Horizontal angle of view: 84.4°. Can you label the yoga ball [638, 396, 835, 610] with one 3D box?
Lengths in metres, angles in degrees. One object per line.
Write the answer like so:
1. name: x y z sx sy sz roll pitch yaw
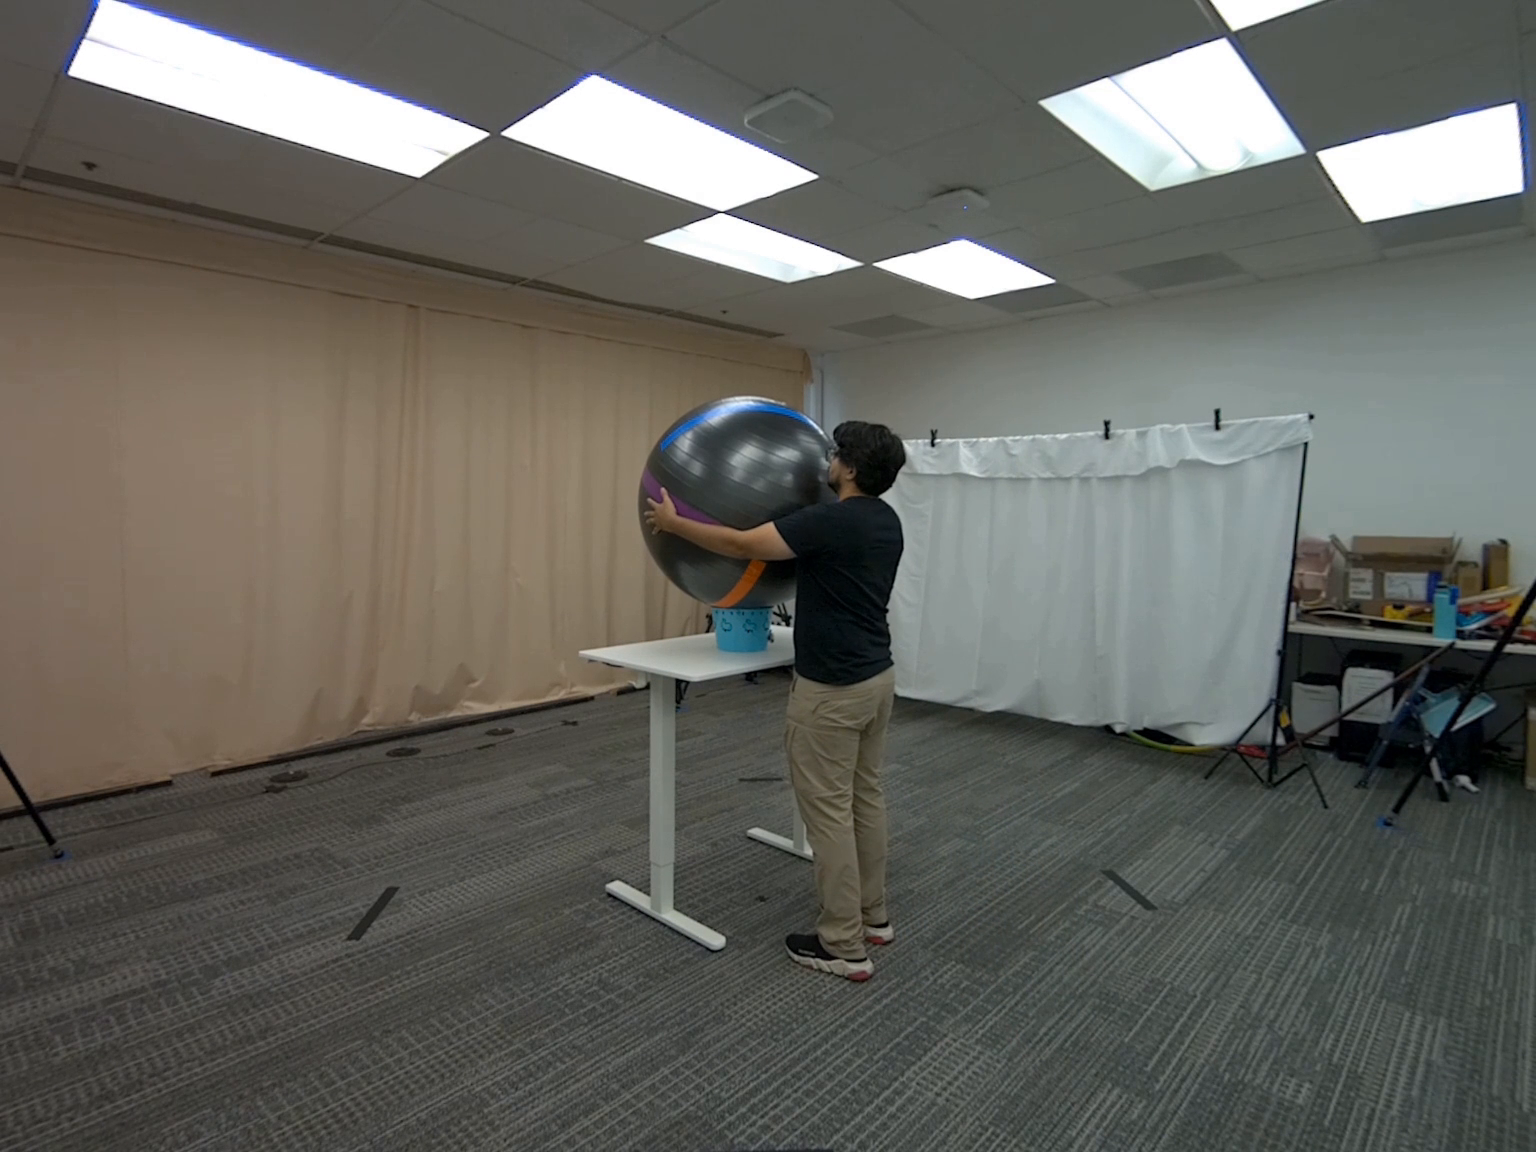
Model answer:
1. yoga ball: -0.080 -0.253 3.002 0.757 0.756 0.760 0 4 -2
